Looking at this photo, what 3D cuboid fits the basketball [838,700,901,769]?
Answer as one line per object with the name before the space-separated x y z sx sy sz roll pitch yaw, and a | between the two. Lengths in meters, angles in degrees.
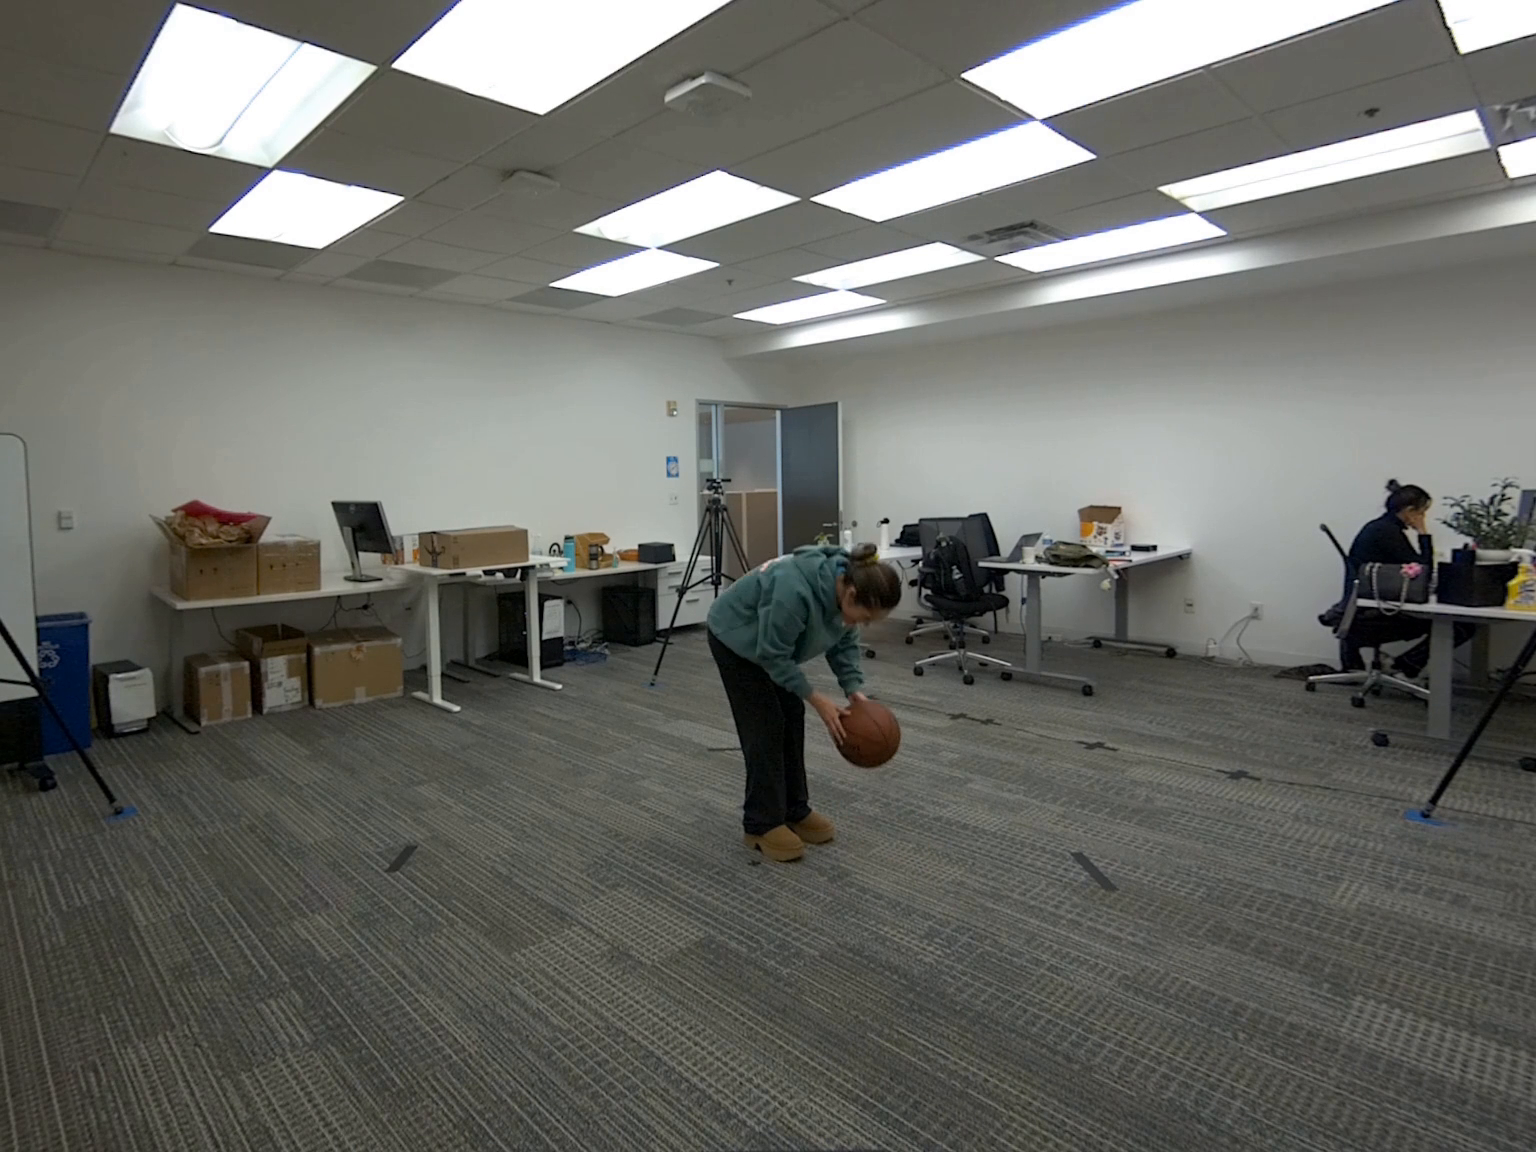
basketball | 0.358 0.553 3.036 0.236 0.235 0.237 -1 5 -2
